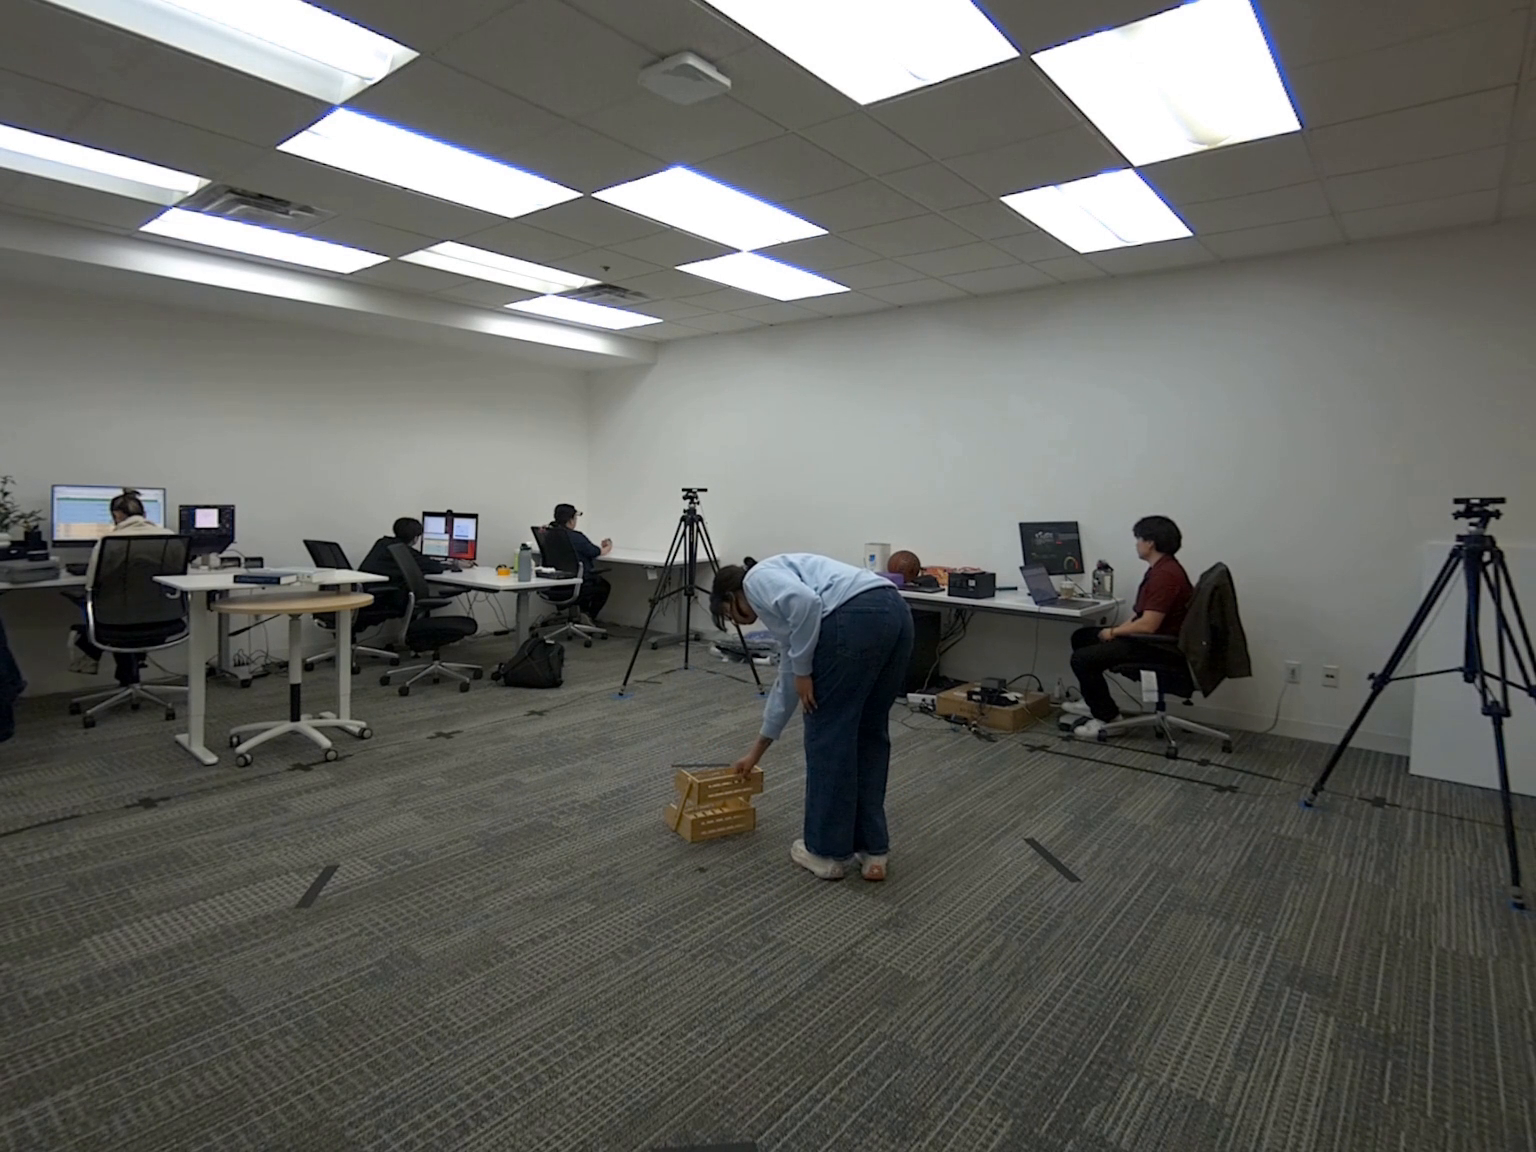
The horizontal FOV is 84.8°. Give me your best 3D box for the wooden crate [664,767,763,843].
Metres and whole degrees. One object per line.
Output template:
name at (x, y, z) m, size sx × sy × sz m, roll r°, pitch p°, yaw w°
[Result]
wooden crate at (-0.241, 0.896, 3.497) m, size 0.316 × 0.272 × 0.311 m, roll -2°, pitch 5°, yaw -31°
